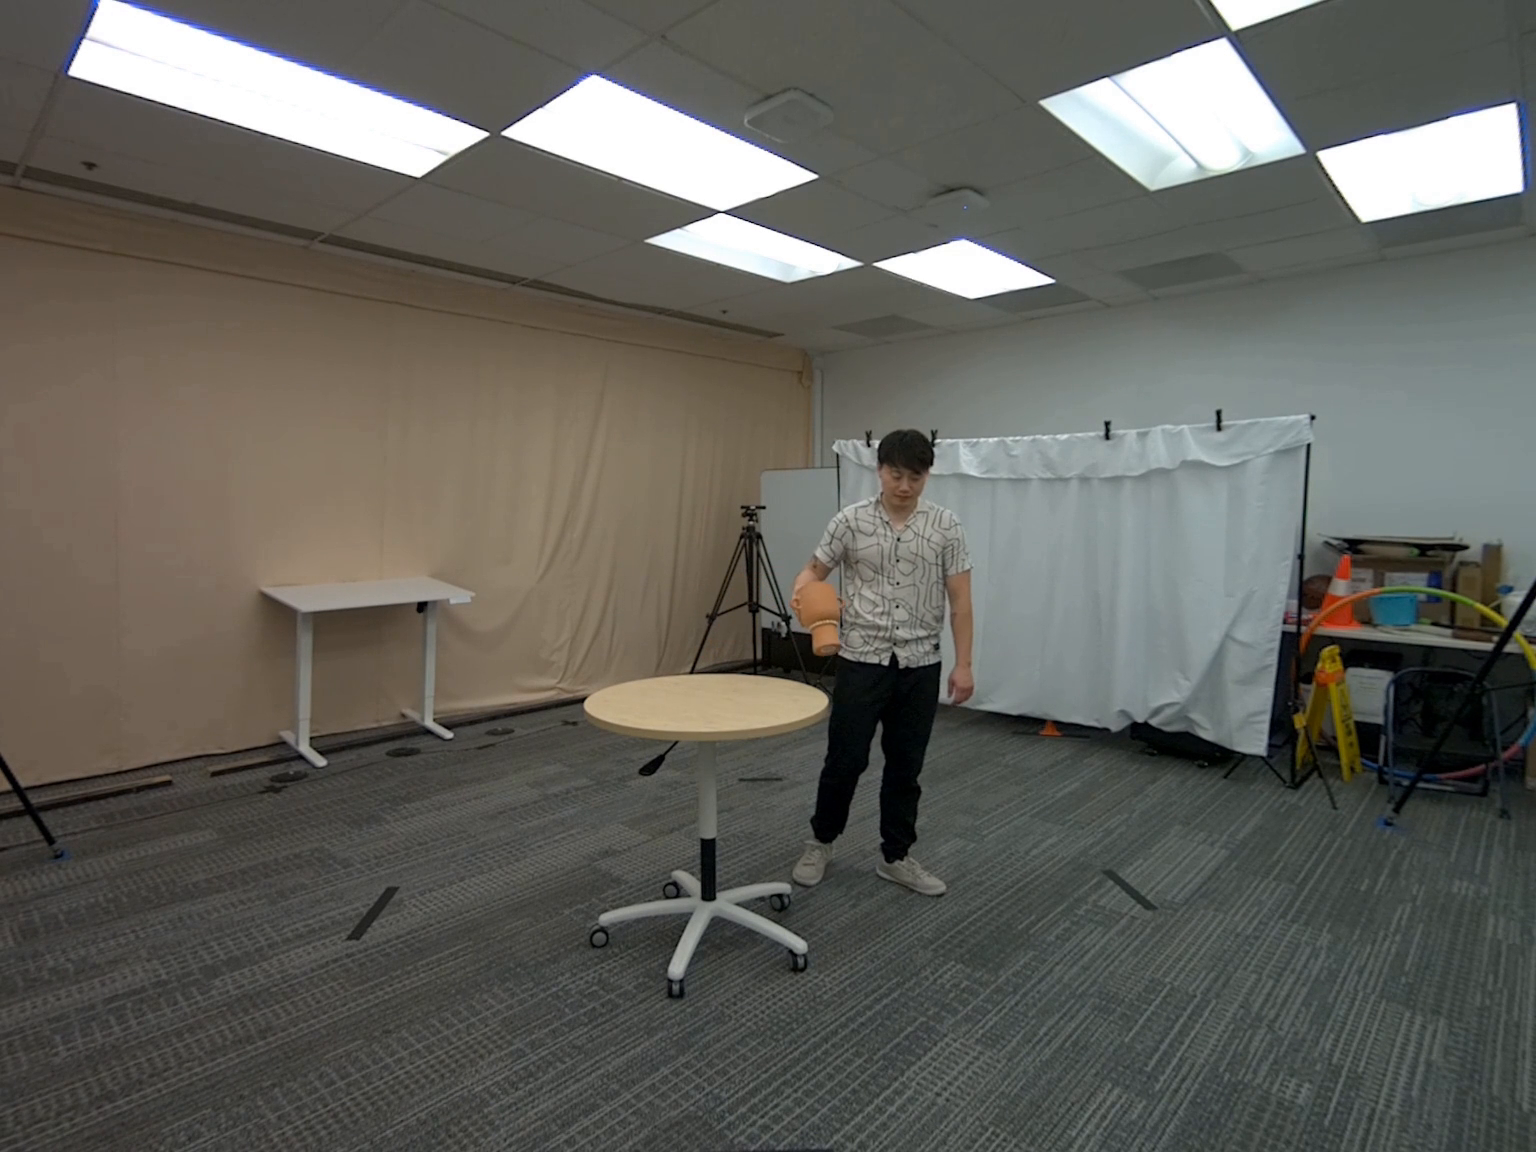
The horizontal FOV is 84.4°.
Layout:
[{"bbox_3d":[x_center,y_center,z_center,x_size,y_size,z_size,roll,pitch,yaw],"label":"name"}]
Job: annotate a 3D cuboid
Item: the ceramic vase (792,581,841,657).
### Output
[{"bbox_3d":[0.189,0.146,2.789,0.161,0.224,0.130,-19,-29,18],"label":"ceramic vase"}]
